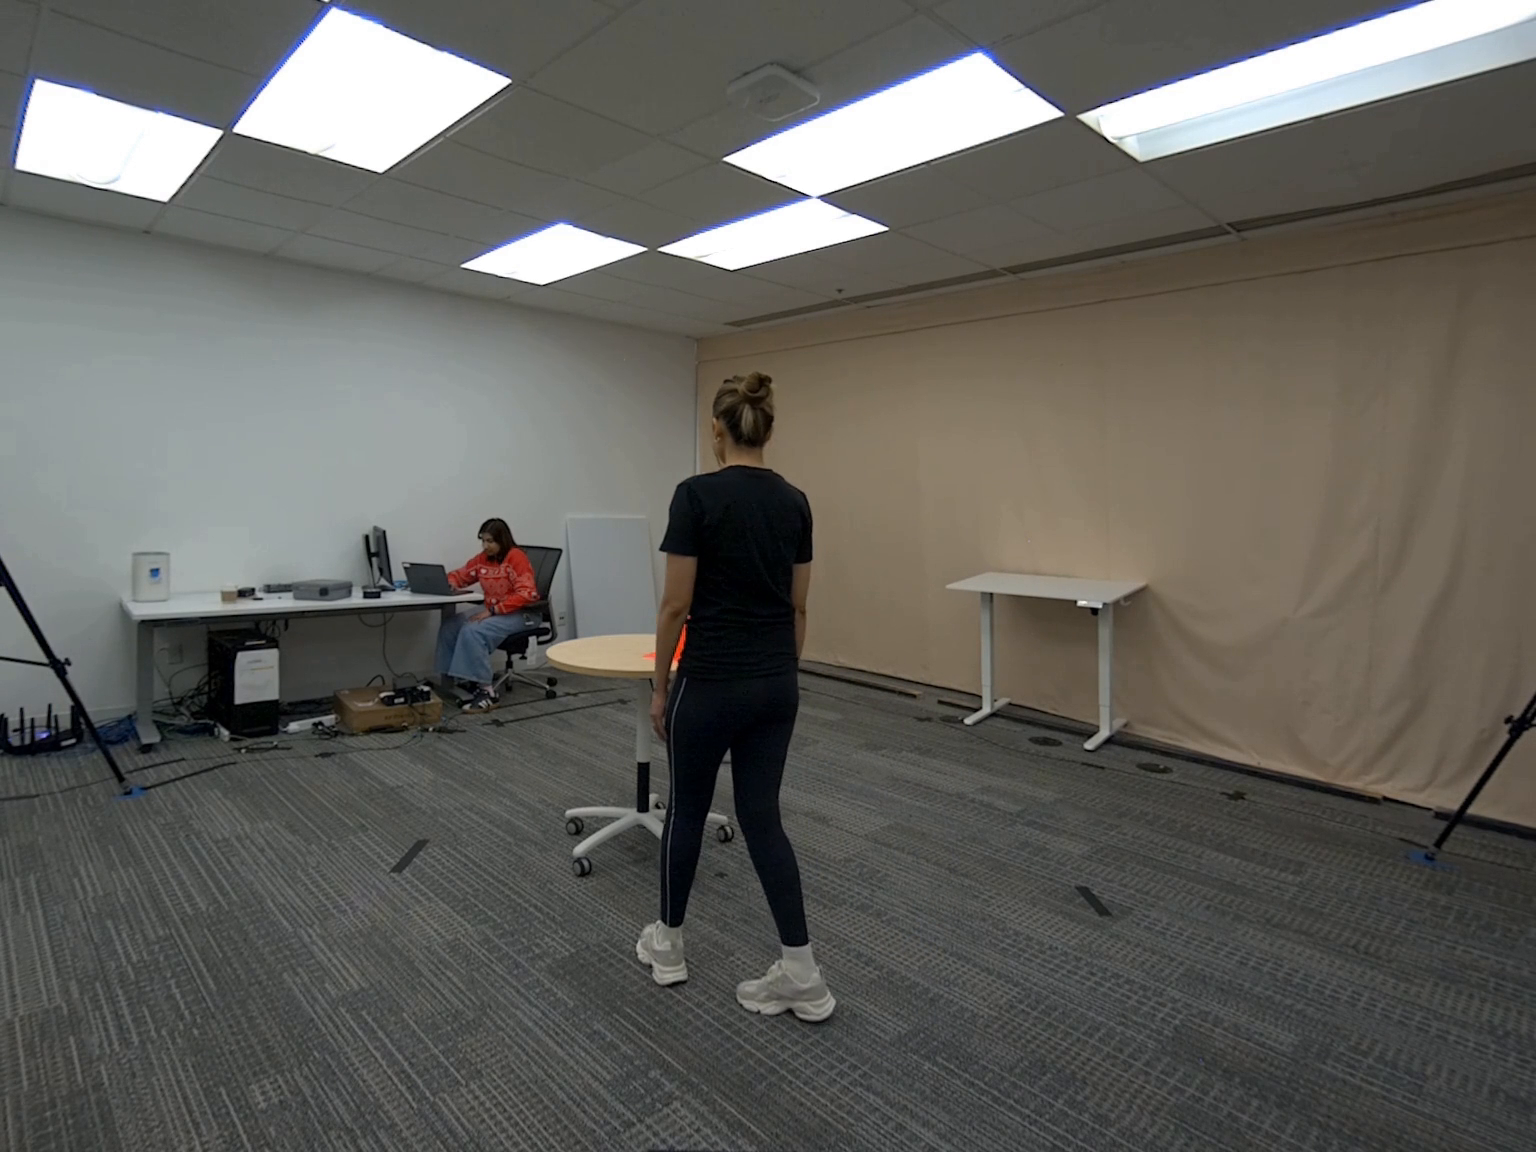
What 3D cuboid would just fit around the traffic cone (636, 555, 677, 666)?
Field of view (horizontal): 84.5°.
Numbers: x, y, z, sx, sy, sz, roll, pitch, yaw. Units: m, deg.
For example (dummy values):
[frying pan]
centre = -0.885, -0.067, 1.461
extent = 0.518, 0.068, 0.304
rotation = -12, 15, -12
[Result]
[traffic cone]
centre = -0.350, 0.122, 3.209
extent = 0.209, 0.383, 0.199
rotation = 4, 3, 28
